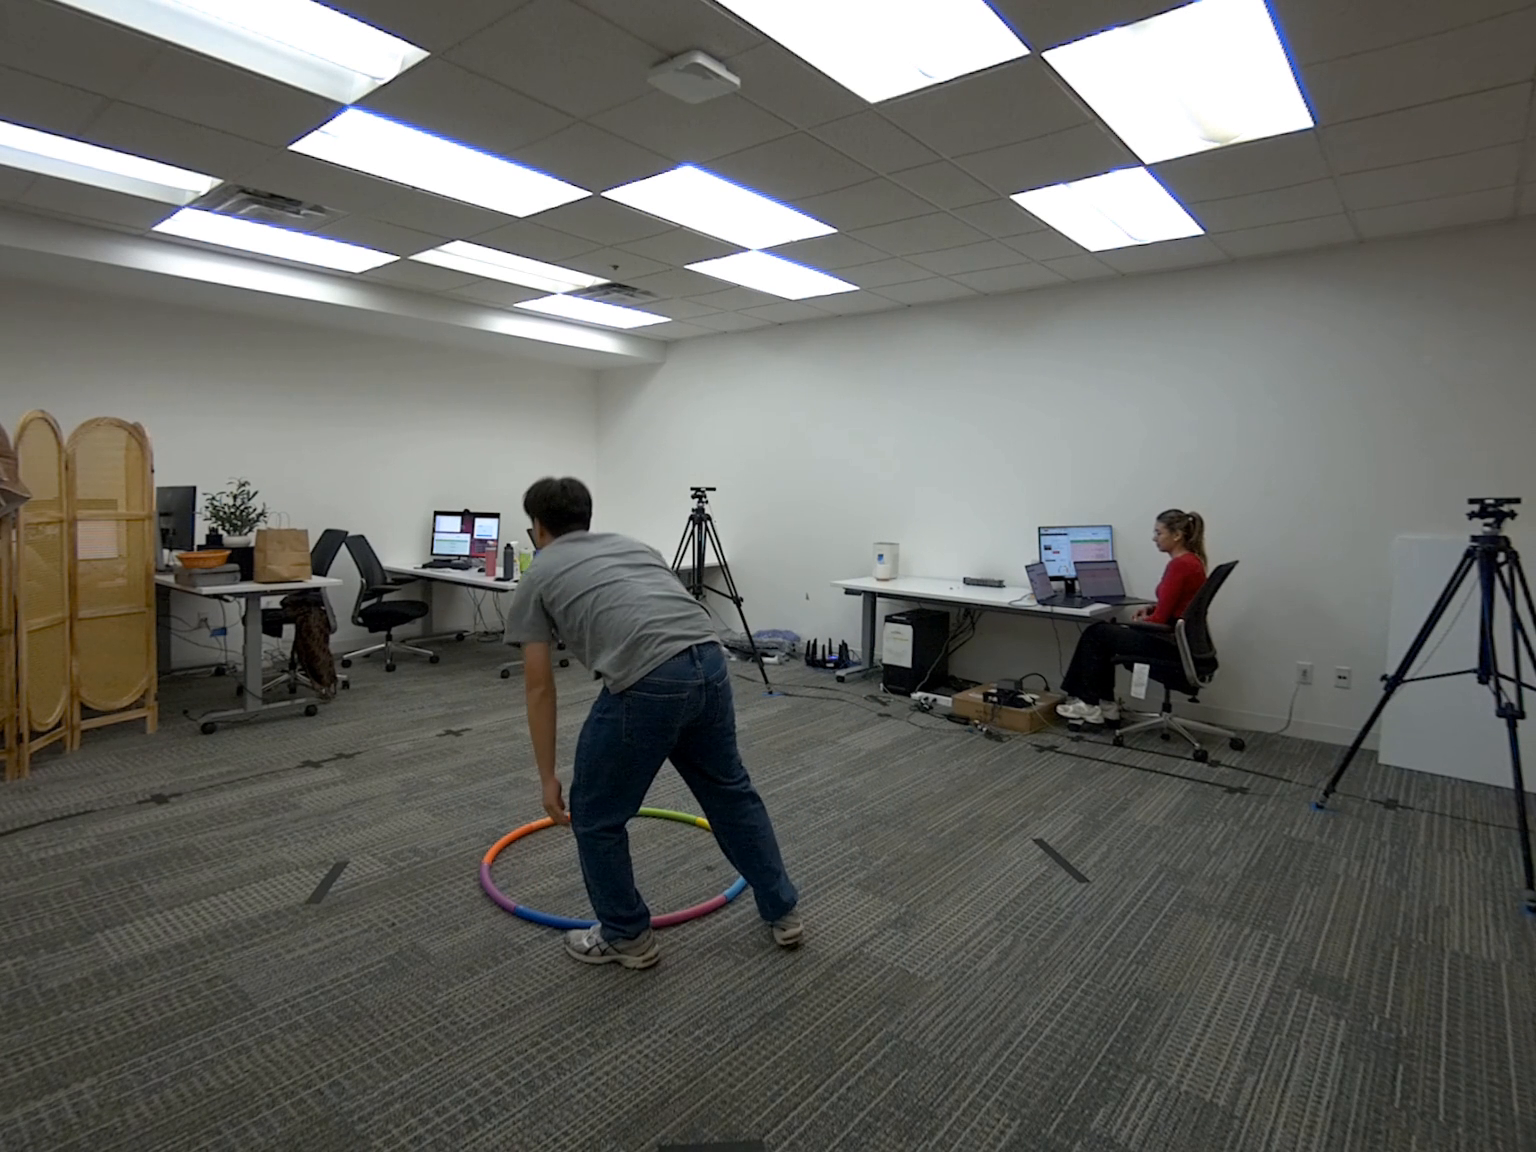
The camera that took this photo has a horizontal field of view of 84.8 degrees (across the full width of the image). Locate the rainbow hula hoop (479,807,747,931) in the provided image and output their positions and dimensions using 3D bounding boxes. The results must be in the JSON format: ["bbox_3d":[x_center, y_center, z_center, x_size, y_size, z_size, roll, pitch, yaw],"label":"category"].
[{"bbox_3d":[-0.556,1.030,3.120,0.978,0.035,0.984,0,5,-2],"label":"rainbow hula hoop"}]
